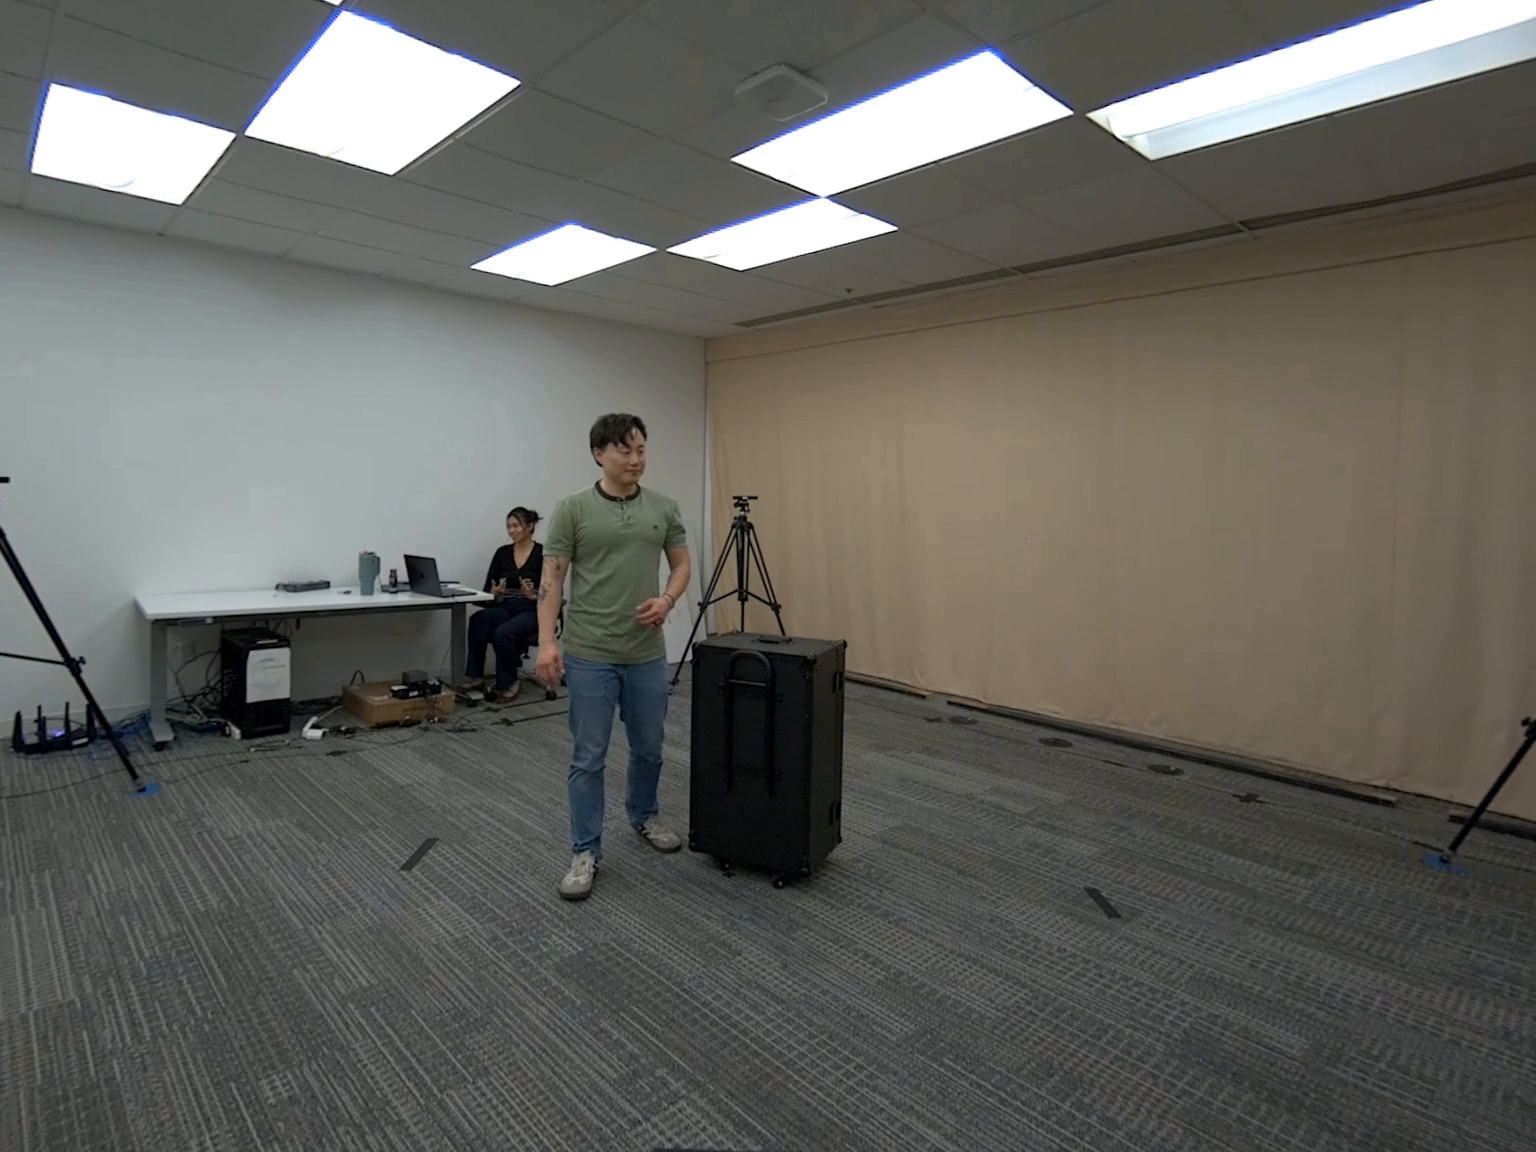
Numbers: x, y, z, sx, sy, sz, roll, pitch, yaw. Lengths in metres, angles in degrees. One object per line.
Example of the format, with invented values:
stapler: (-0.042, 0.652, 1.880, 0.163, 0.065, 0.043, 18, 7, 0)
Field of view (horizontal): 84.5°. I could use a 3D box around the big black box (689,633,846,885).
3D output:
big black box: (-0.001, 0.670, 3.176, 0.531, 0.859, 0.390, 2, 4, 24)
